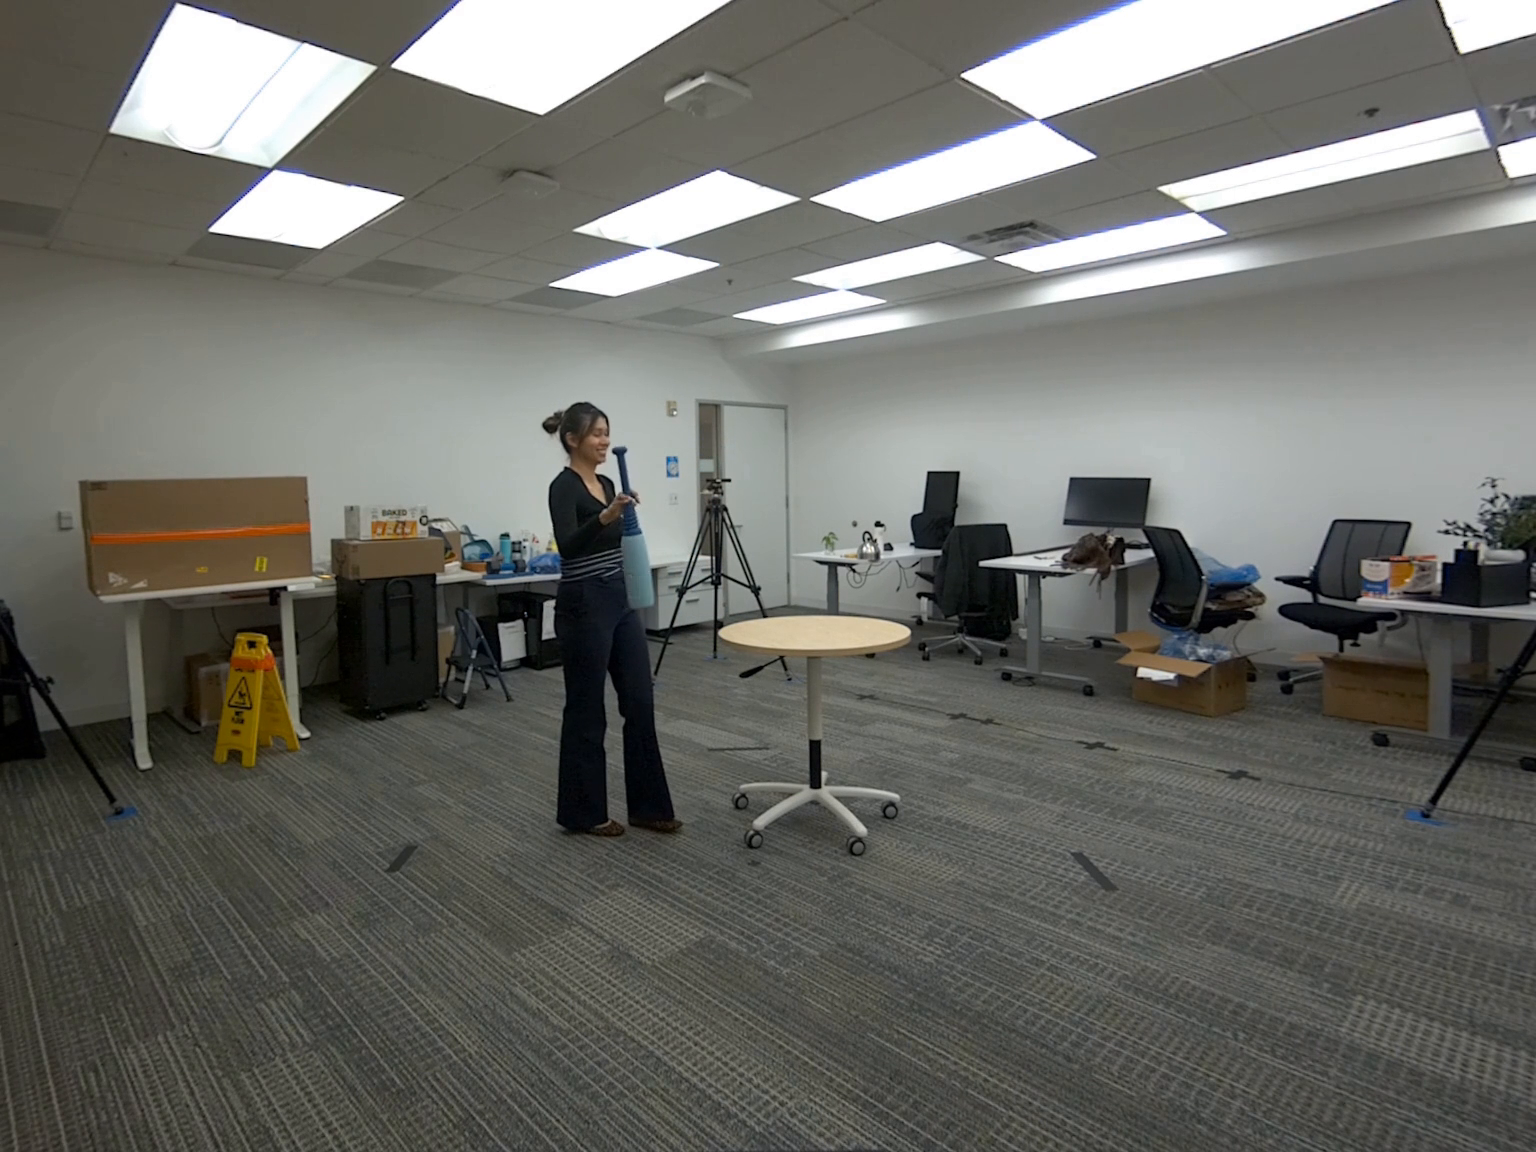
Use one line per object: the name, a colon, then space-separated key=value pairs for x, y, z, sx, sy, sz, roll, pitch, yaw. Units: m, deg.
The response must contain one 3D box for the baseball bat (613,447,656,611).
baseball bat: x=-0.450 y=-0.168 z=2.813 sx=0.089 sy=0.537 sz=0.090 roll=-7 pitch=10 yaw=0
